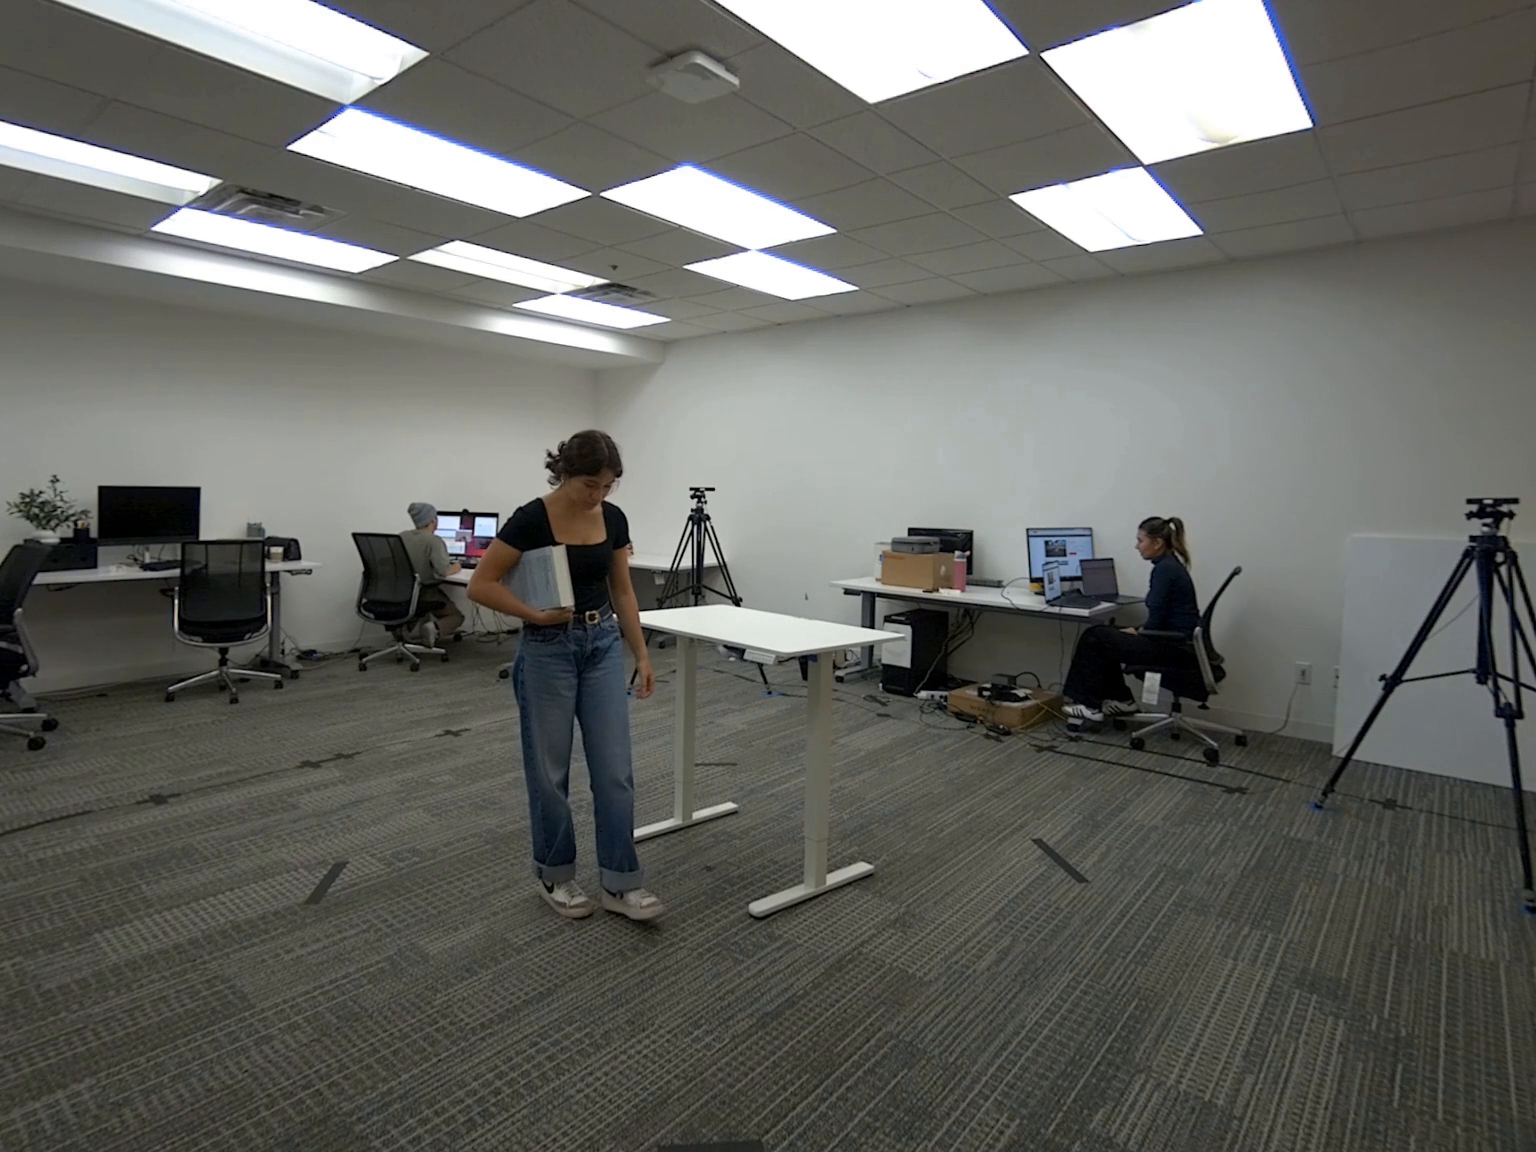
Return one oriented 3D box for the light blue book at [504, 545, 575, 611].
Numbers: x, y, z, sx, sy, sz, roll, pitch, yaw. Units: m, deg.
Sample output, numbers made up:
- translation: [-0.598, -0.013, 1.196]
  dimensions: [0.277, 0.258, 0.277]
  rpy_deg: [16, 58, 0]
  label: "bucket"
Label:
- translation: [-0.740, 0.010, 2.631]
  dimensions: [0.267, 0.192, 0.057]
  rpy_deg: [-10, -3, 29]
  label: "light blue book"
